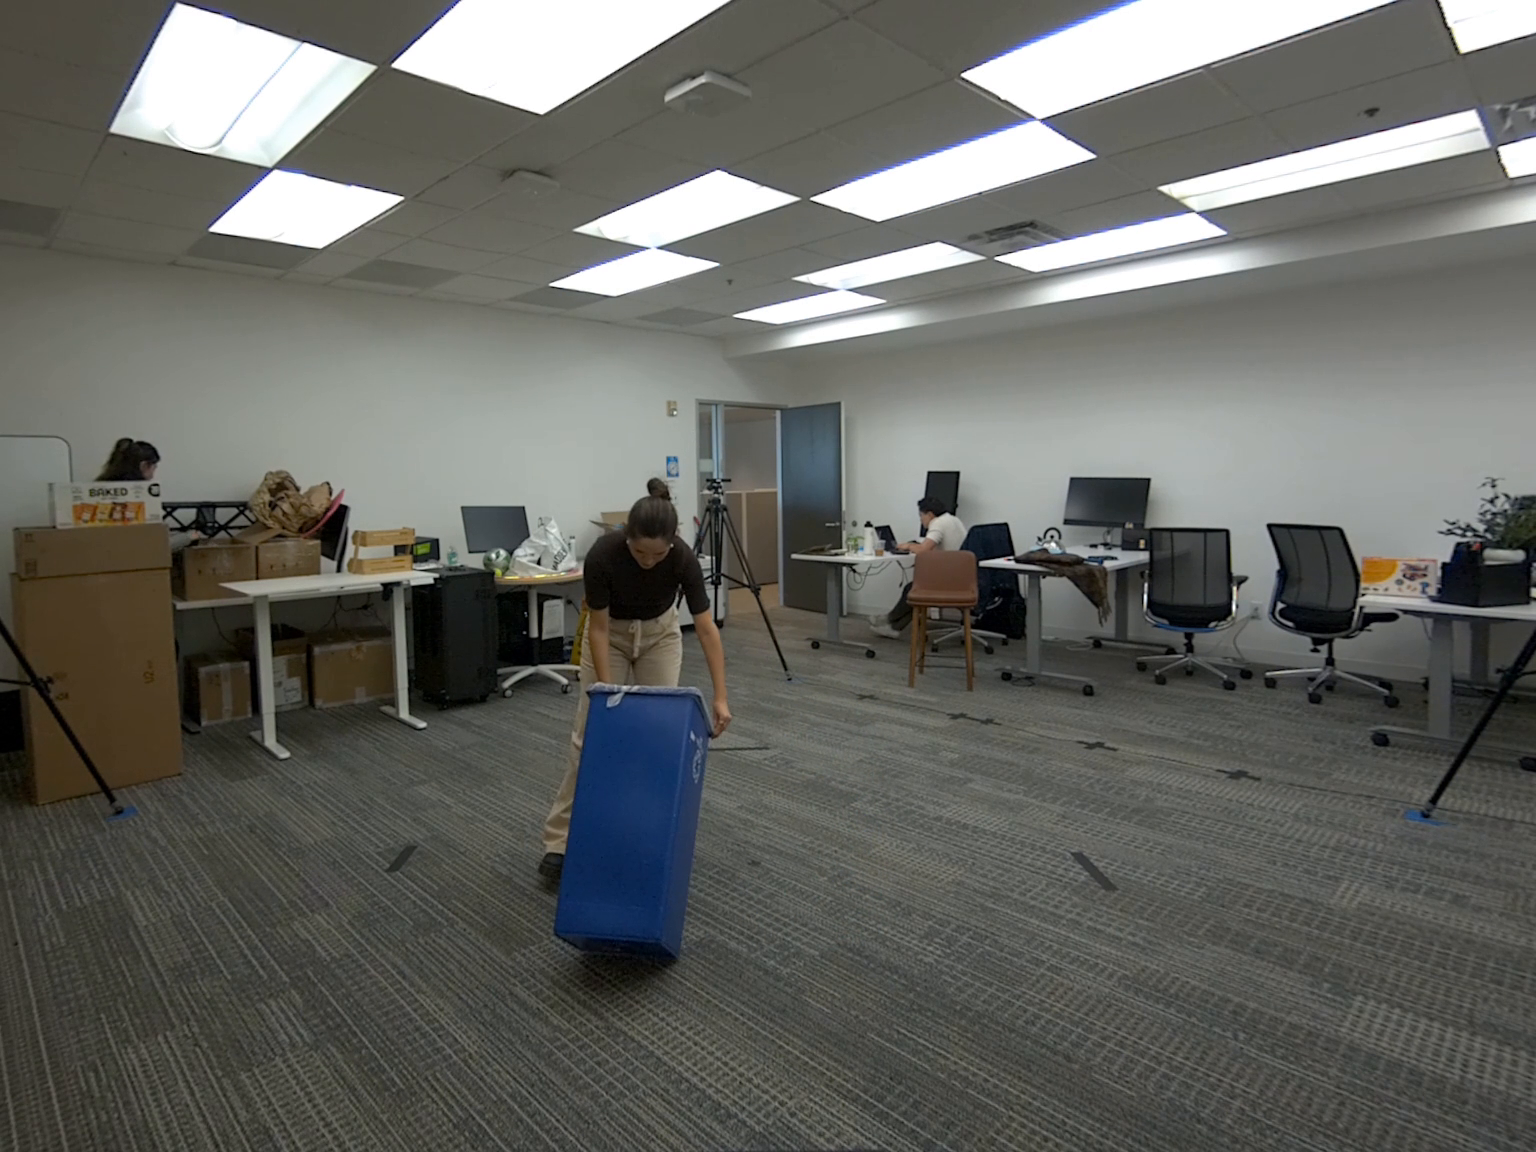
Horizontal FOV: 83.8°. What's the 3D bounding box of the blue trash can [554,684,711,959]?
[{"bbox_3d":[-0.397,0.741,2.596,0.381,0.729,0.363,1,-32,7],"label":"blue trash can"}]
